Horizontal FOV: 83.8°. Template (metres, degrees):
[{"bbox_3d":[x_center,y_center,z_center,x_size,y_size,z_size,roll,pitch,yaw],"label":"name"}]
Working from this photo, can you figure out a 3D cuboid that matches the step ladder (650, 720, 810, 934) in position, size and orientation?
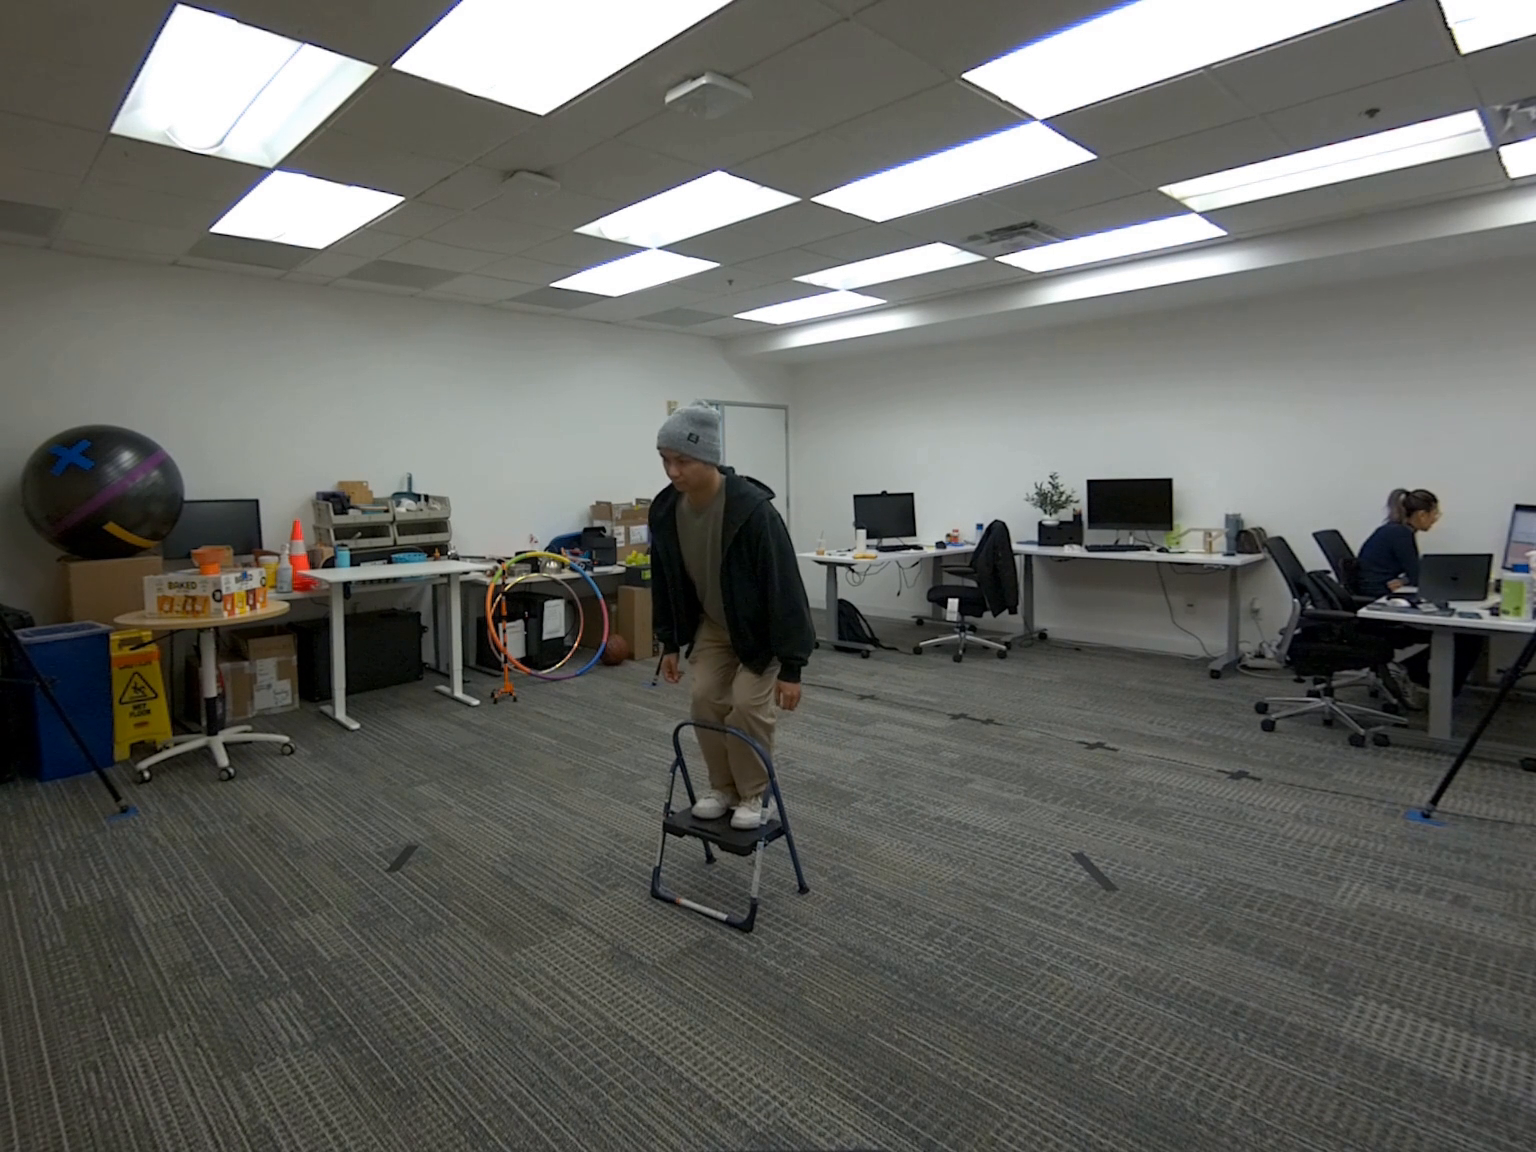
[{"bbox_3d":[-0.139,0.775,2.864,0.443,0.604,0.341,2,6,35],"label":"step ladder"}]
